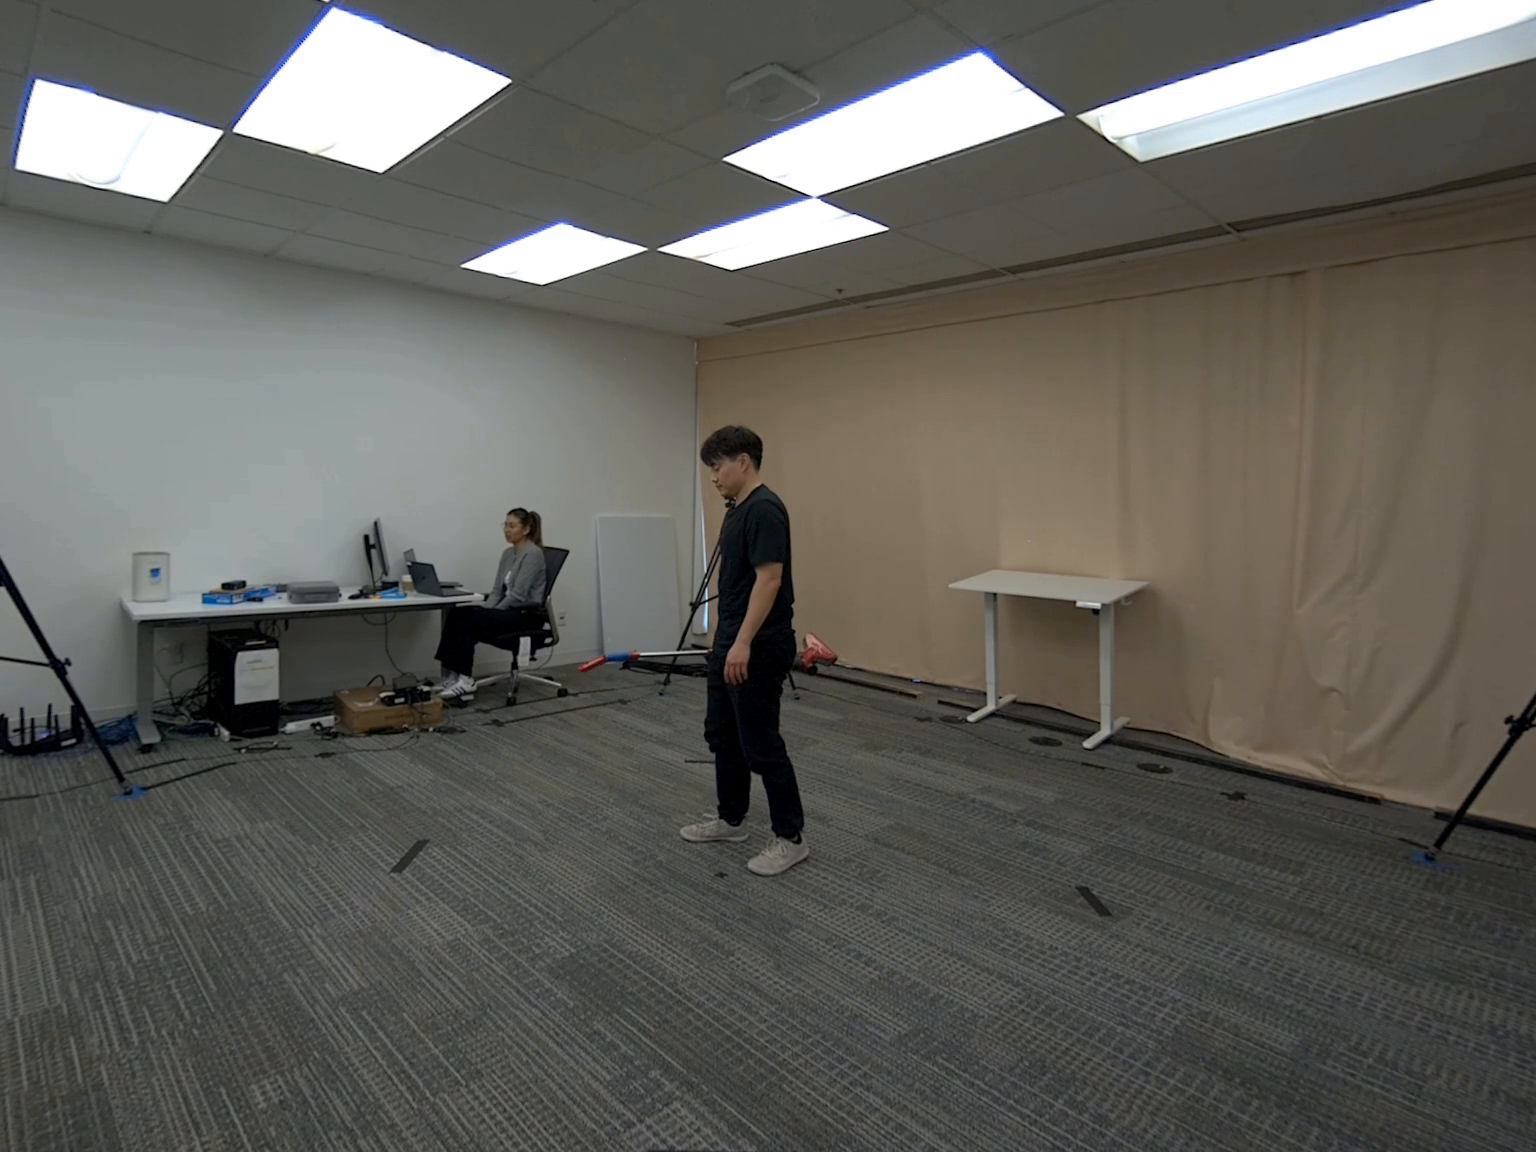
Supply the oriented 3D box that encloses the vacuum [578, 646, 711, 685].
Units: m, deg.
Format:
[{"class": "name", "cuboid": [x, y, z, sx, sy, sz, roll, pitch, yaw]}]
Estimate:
[{"class": "vacuum", "cuboid": [-0.264, 0.370, 3.526, 1.031, 0.142, 0.260, -1, 21, -23]}]
